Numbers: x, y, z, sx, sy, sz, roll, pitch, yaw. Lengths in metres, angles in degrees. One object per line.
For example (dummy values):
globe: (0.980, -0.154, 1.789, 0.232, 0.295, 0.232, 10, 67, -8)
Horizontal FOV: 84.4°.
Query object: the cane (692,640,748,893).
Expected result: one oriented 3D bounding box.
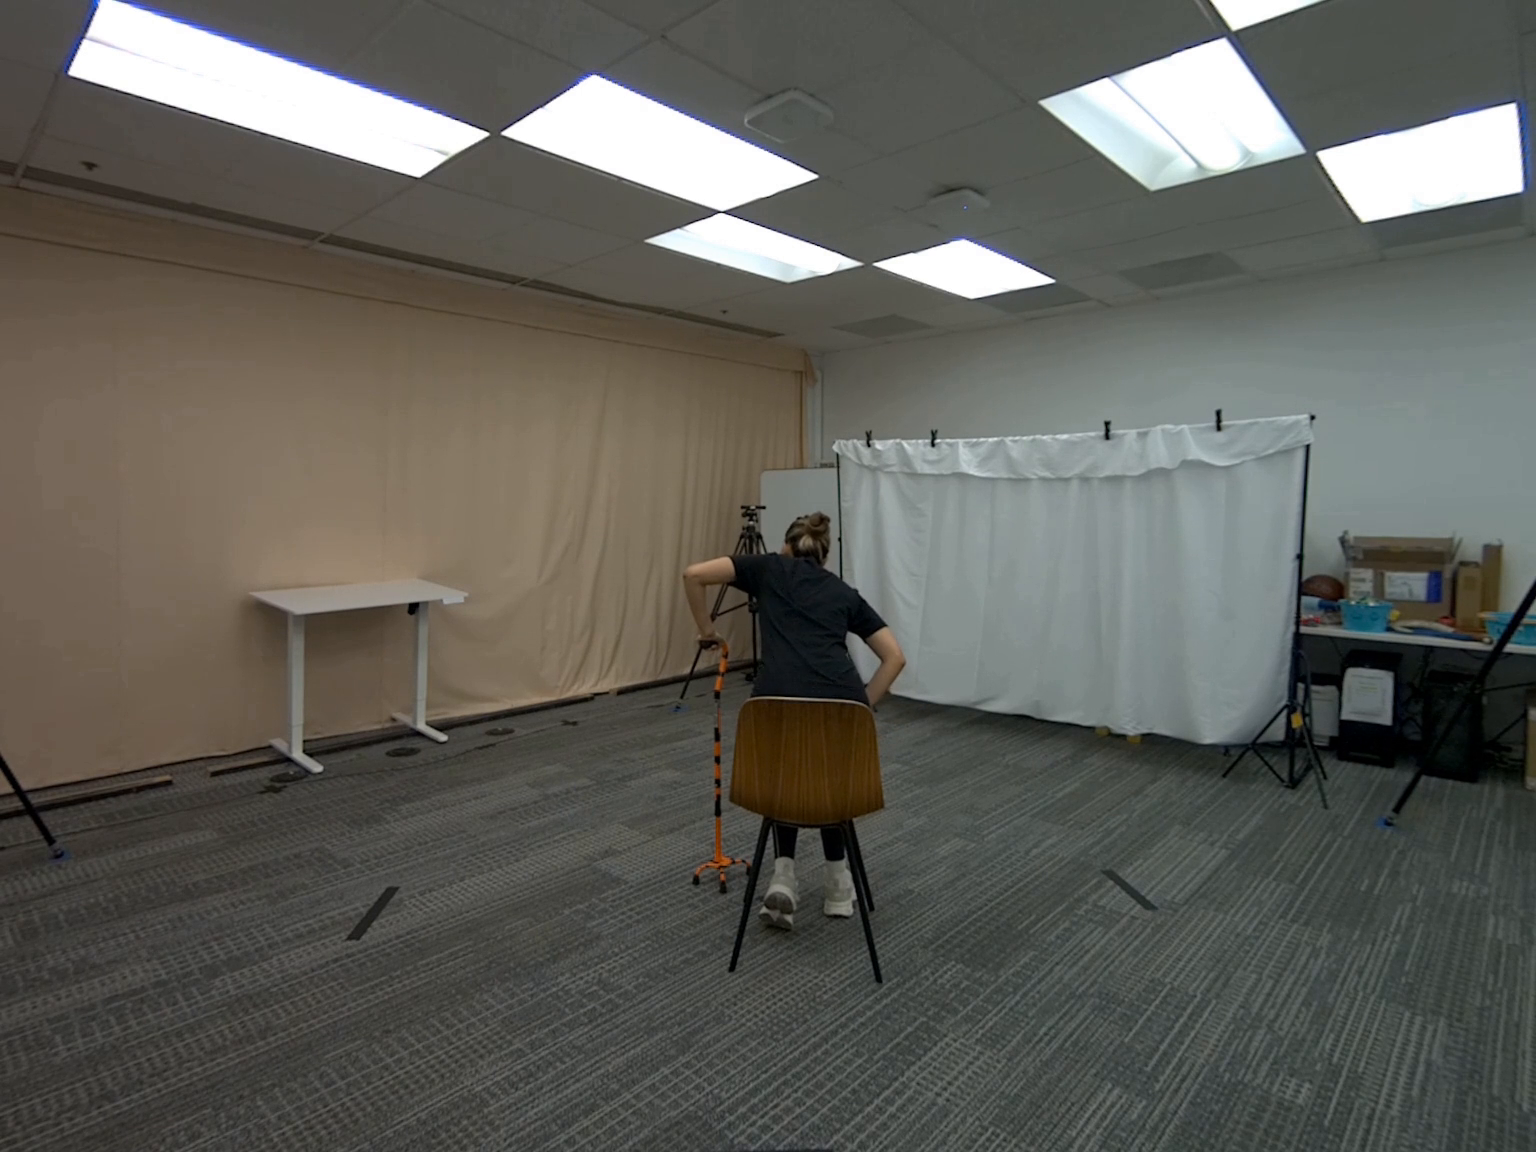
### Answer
cane: (-0.173, 0.683, 3.123, 0.156, 0.906, 0.201, 2, 4, 33)
